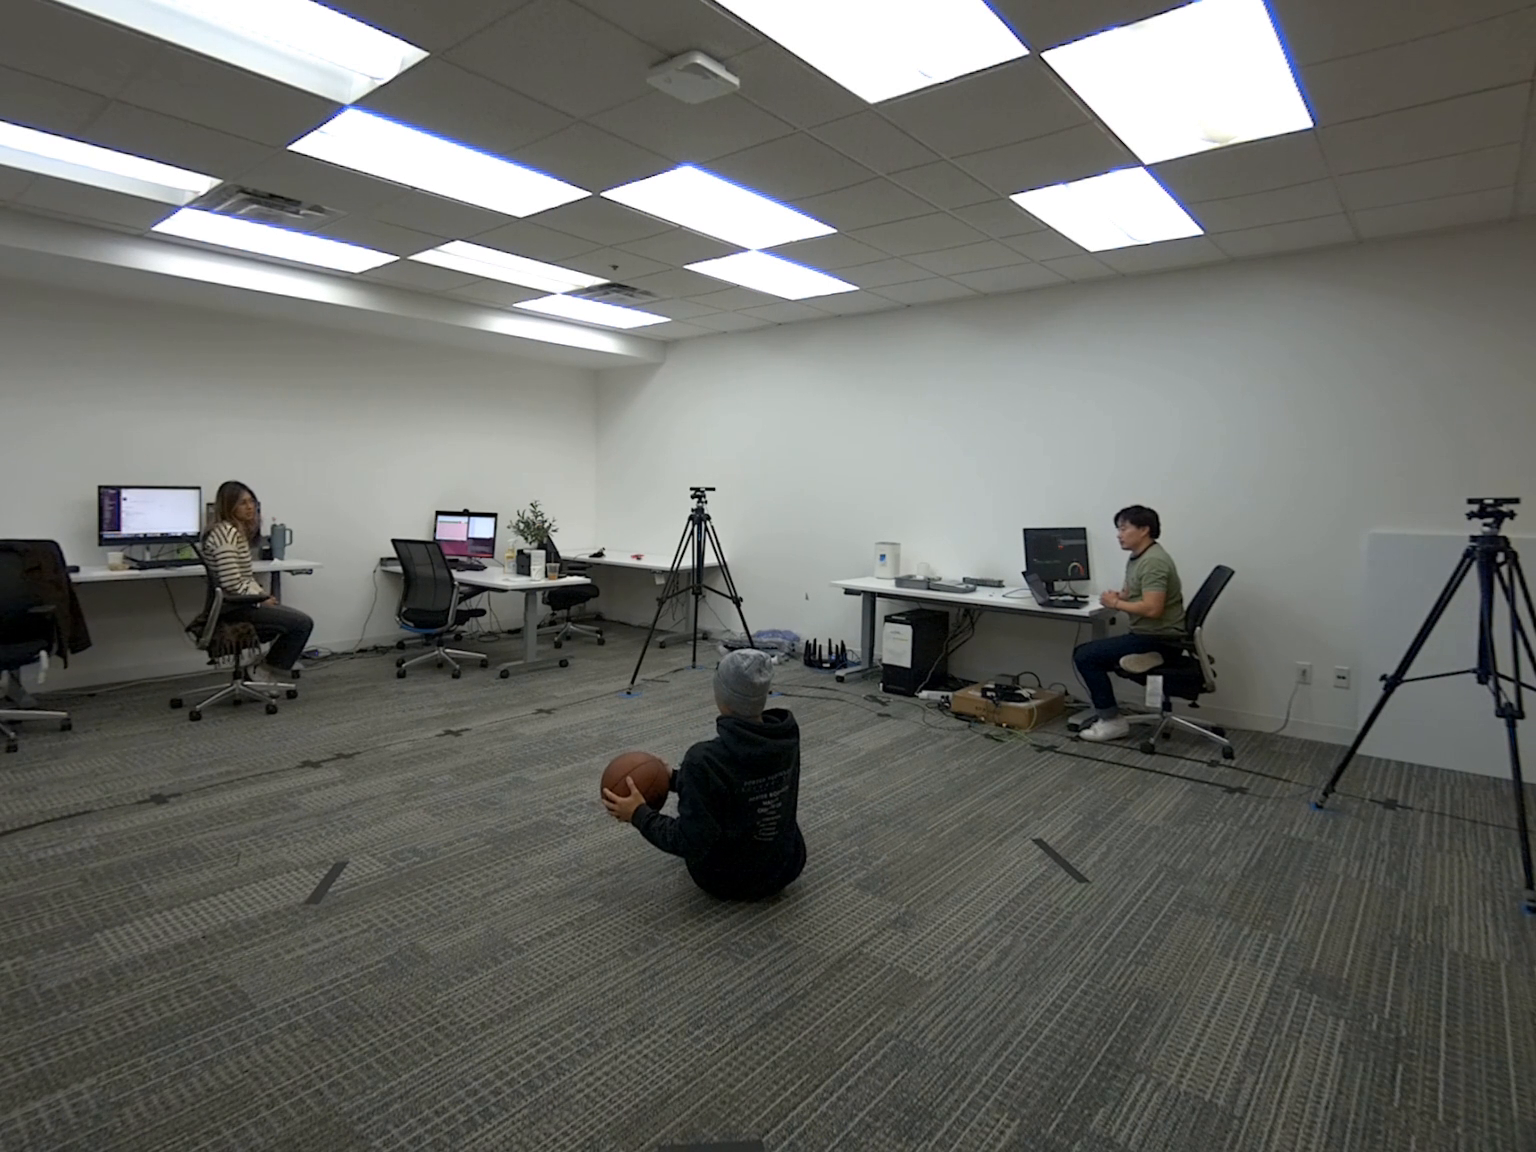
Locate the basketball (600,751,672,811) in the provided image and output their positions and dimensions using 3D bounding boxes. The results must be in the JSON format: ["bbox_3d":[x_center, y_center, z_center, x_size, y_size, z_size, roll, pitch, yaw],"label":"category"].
[{"bbox_3d":[-0.473,0.725,2.962,0.235,0.235,0.237,1,4,-2],"label":"basketball"}]
